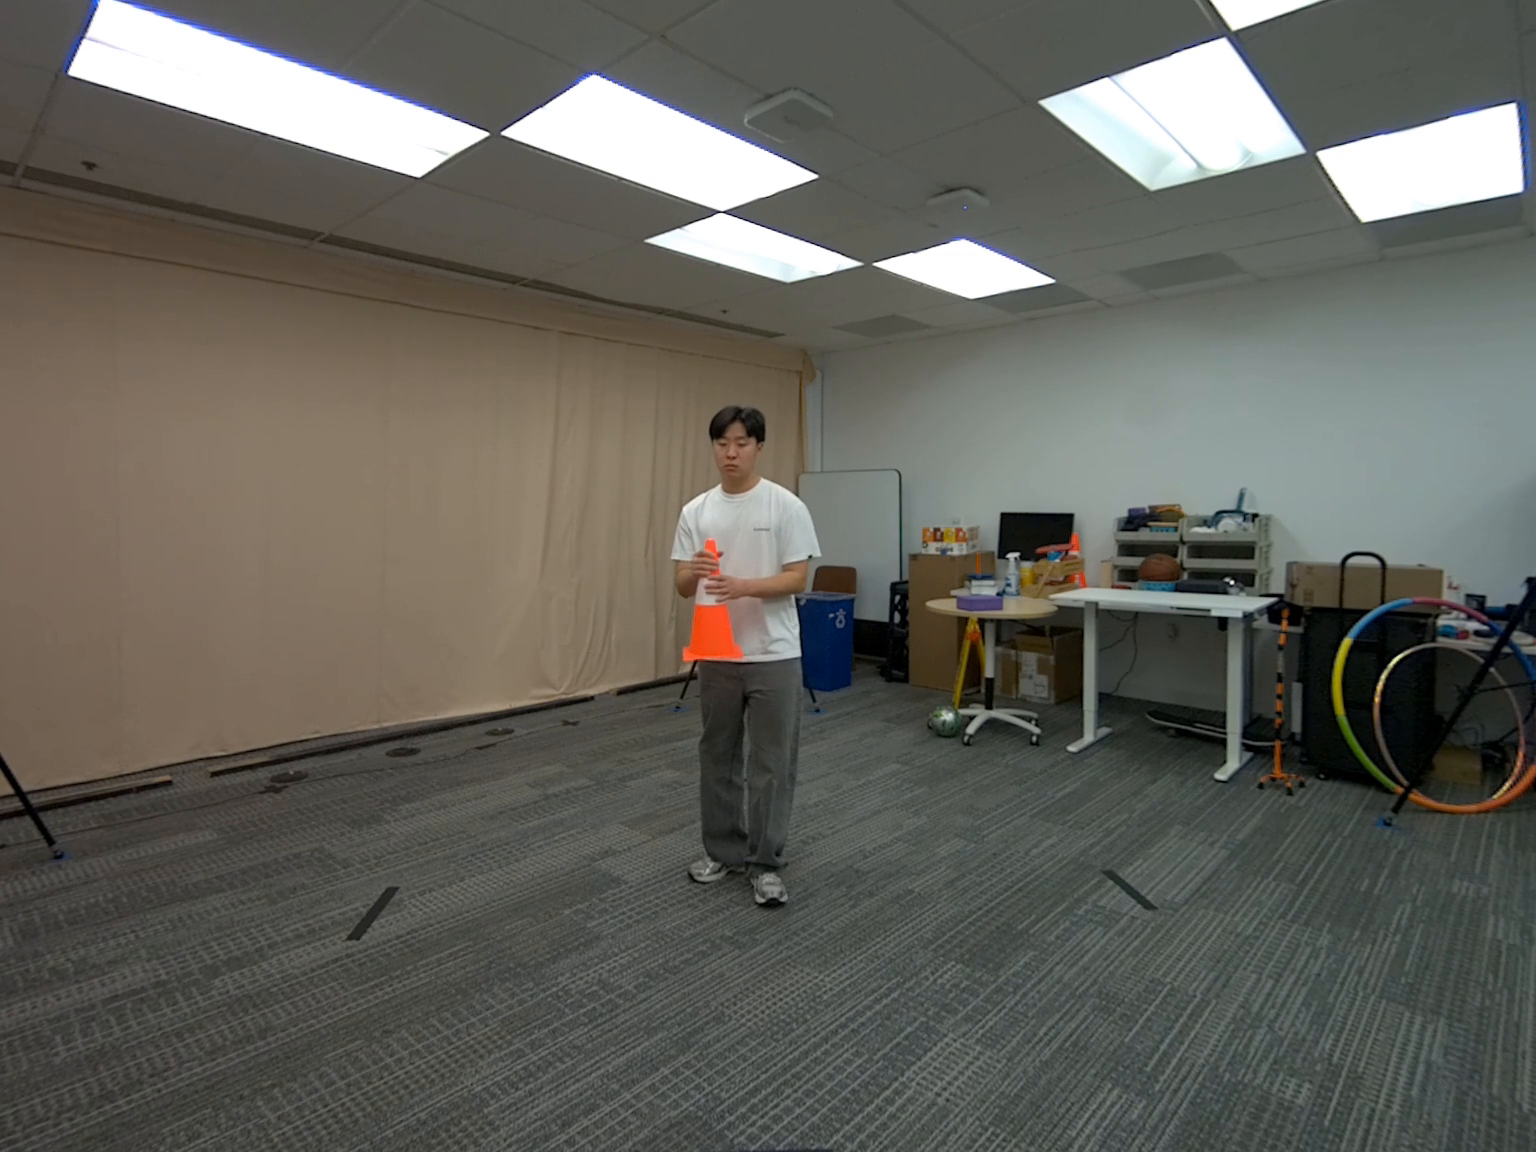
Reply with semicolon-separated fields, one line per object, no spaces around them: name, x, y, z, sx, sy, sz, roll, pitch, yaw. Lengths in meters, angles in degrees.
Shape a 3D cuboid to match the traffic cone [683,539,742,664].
traffic cone;-0.194;0.072;2.830;0.201;0.383;0.207;-3;3;-11
